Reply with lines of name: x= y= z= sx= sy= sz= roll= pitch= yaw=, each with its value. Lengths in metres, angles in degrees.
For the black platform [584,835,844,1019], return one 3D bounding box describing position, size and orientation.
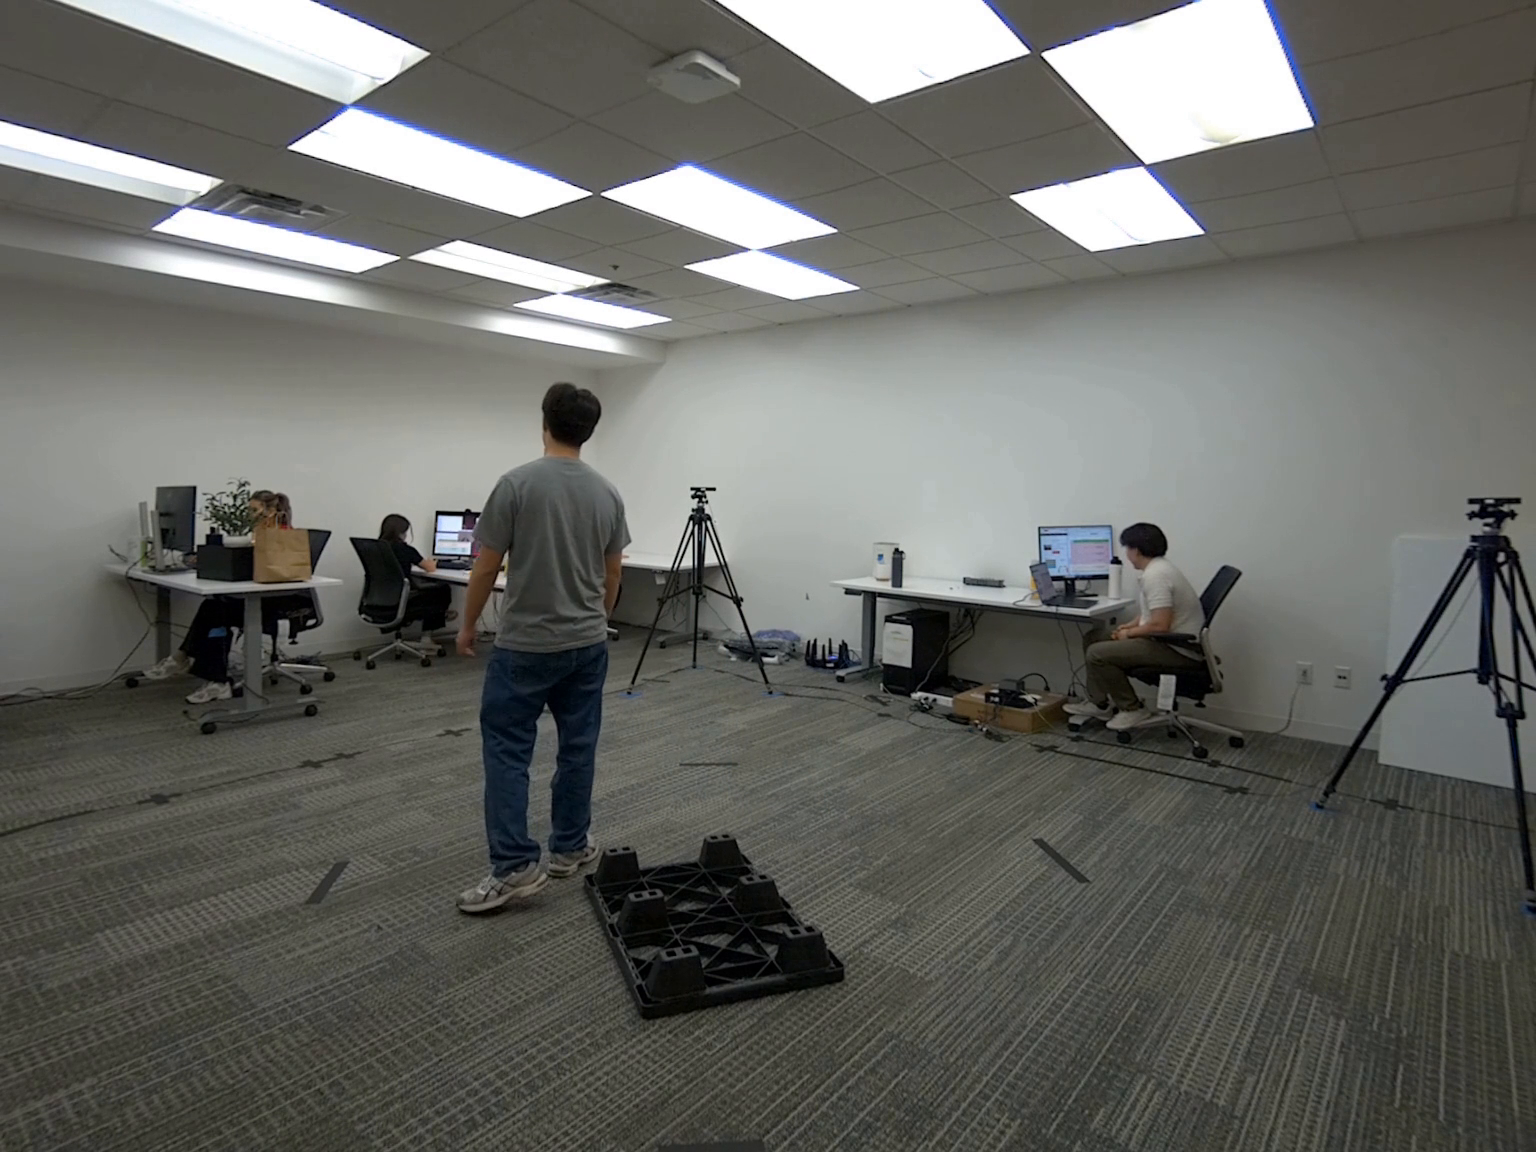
black platform: x=-0.210 y=1.040 z=2.678 sx=0.592 sy=0.143 sz=0.827 roll=-2 pitch=7 yaw=-23
